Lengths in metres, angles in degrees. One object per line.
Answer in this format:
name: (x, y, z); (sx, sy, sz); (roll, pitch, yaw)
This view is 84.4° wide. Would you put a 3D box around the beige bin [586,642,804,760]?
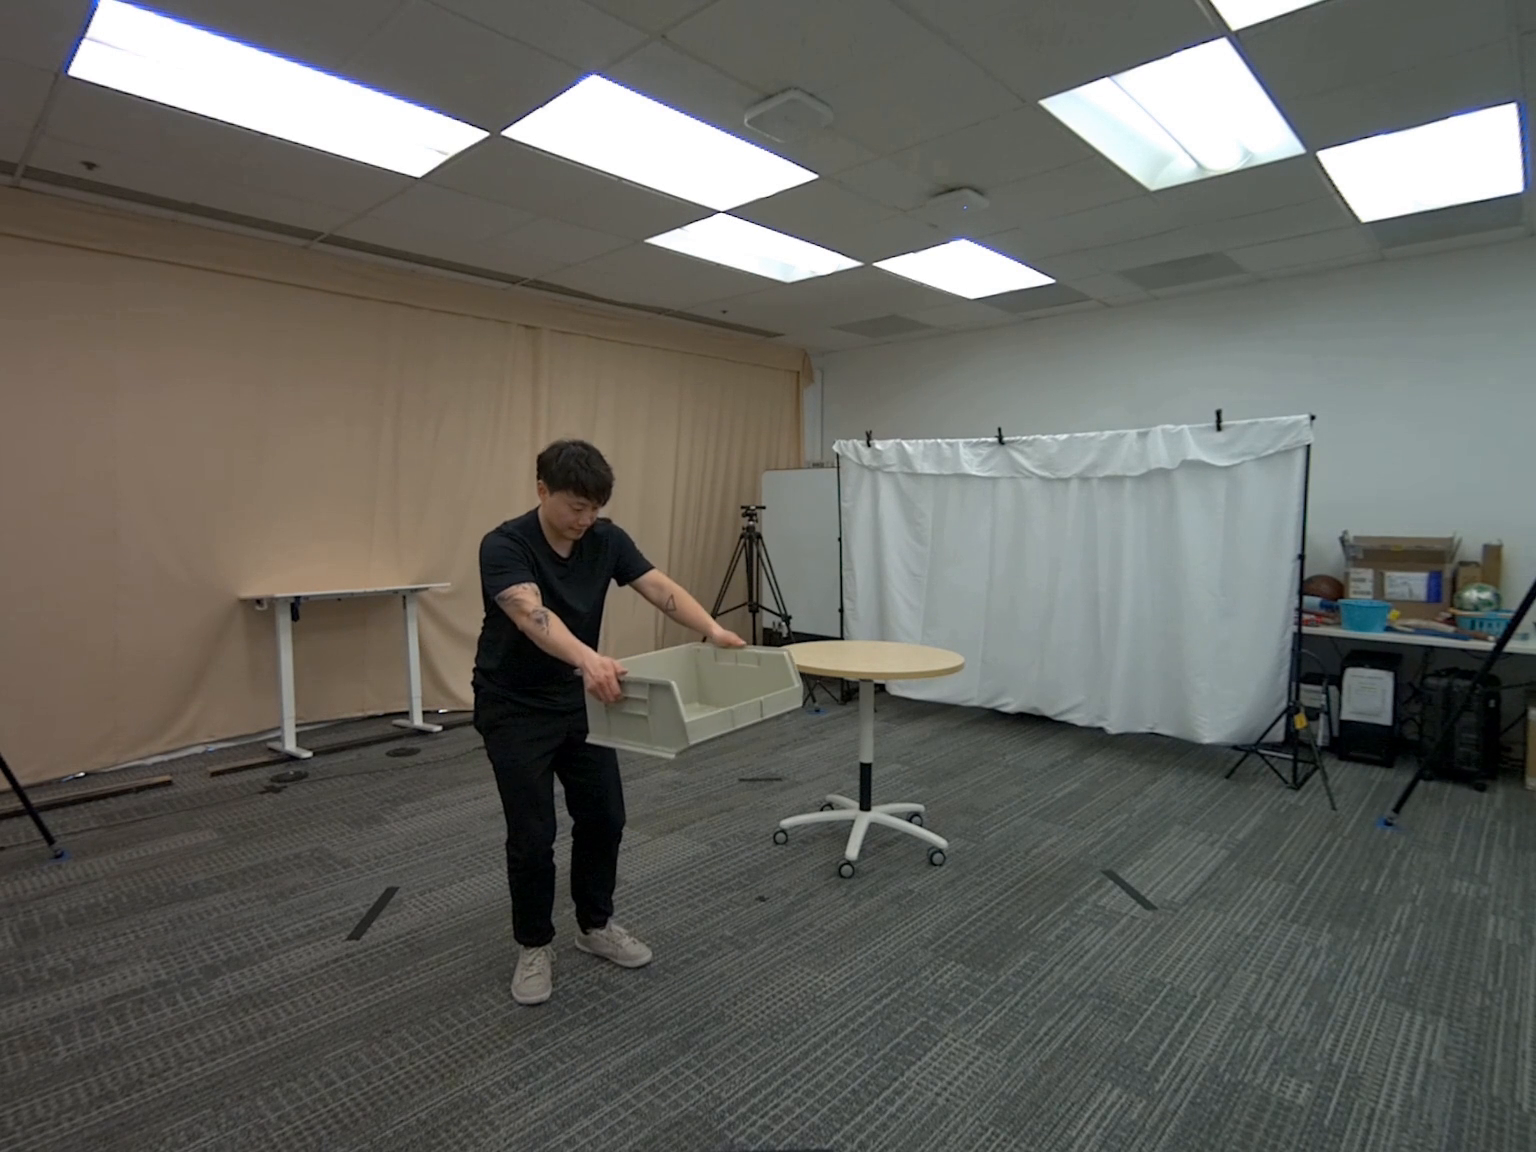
beige bin: (-0.181, 0.302, 2.094); (0.389, 0.189, 0.410); (-4, 4, 41)
